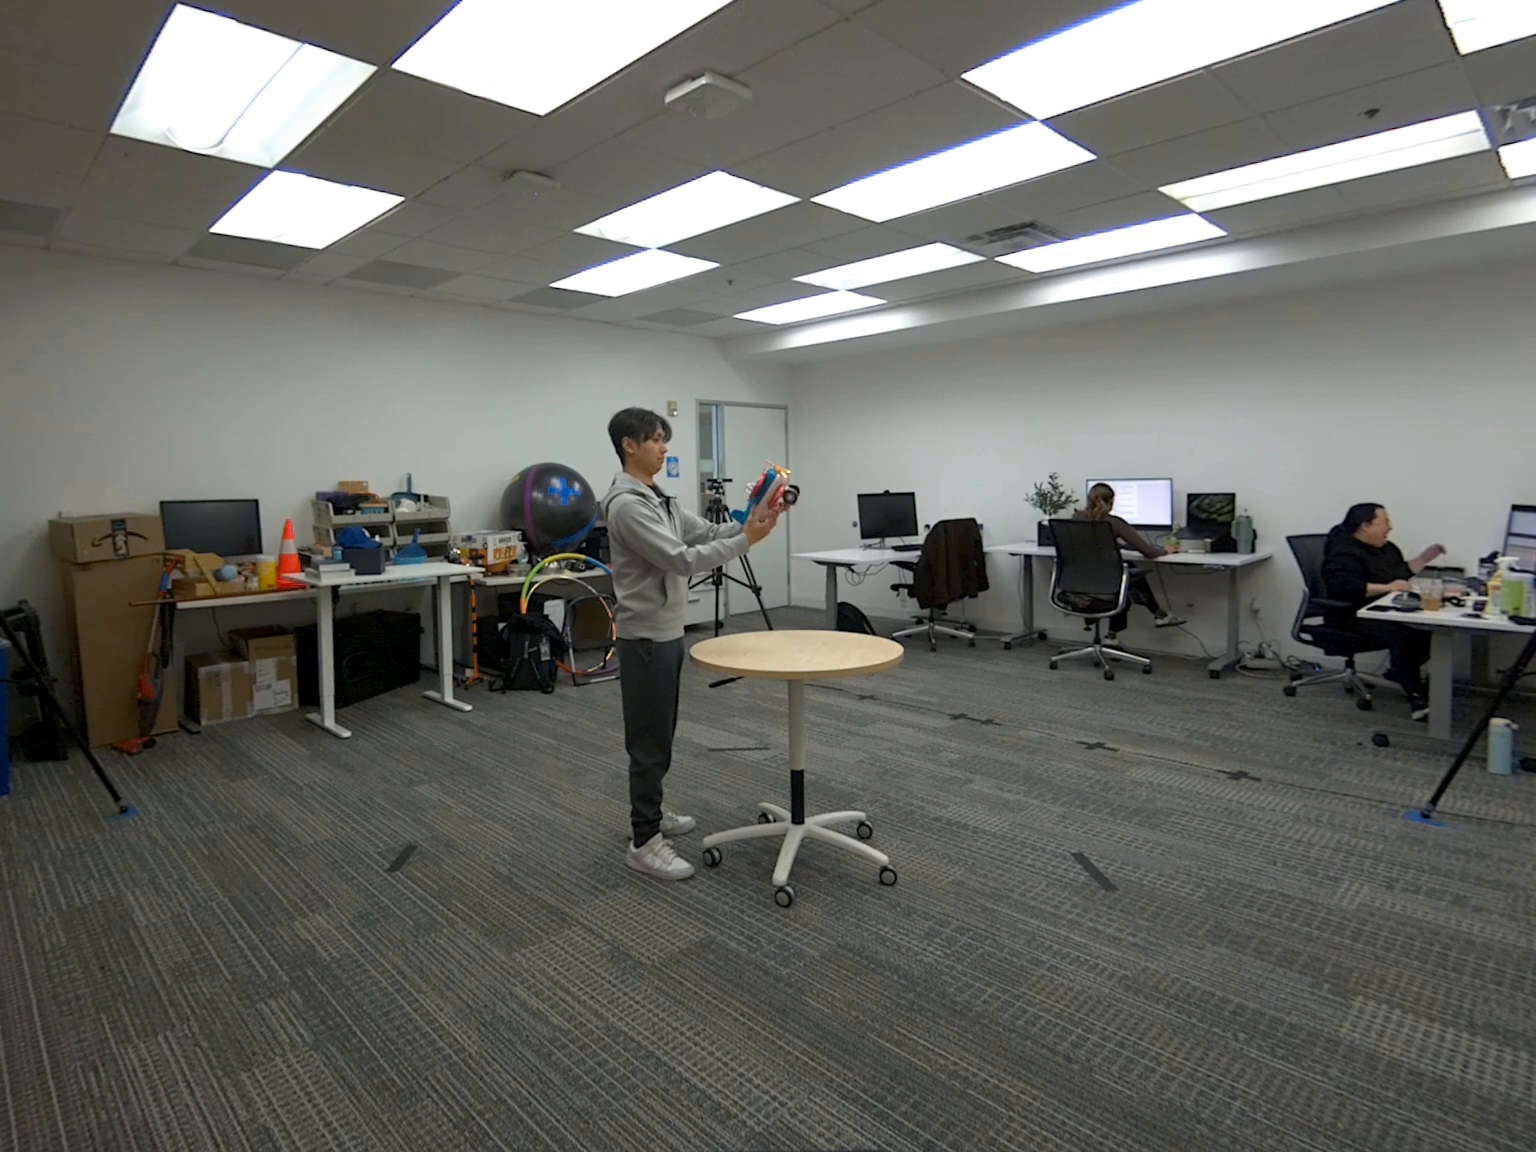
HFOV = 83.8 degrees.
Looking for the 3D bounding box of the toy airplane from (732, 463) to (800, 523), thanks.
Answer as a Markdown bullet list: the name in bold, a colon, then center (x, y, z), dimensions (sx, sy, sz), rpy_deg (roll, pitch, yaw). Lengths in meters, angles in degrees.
- **toy airplane**: center (-0.011, -0.231, 3.057), dimensions (0.259, 0.155, 0.253), rpy_deg (-46, 8, -12)
